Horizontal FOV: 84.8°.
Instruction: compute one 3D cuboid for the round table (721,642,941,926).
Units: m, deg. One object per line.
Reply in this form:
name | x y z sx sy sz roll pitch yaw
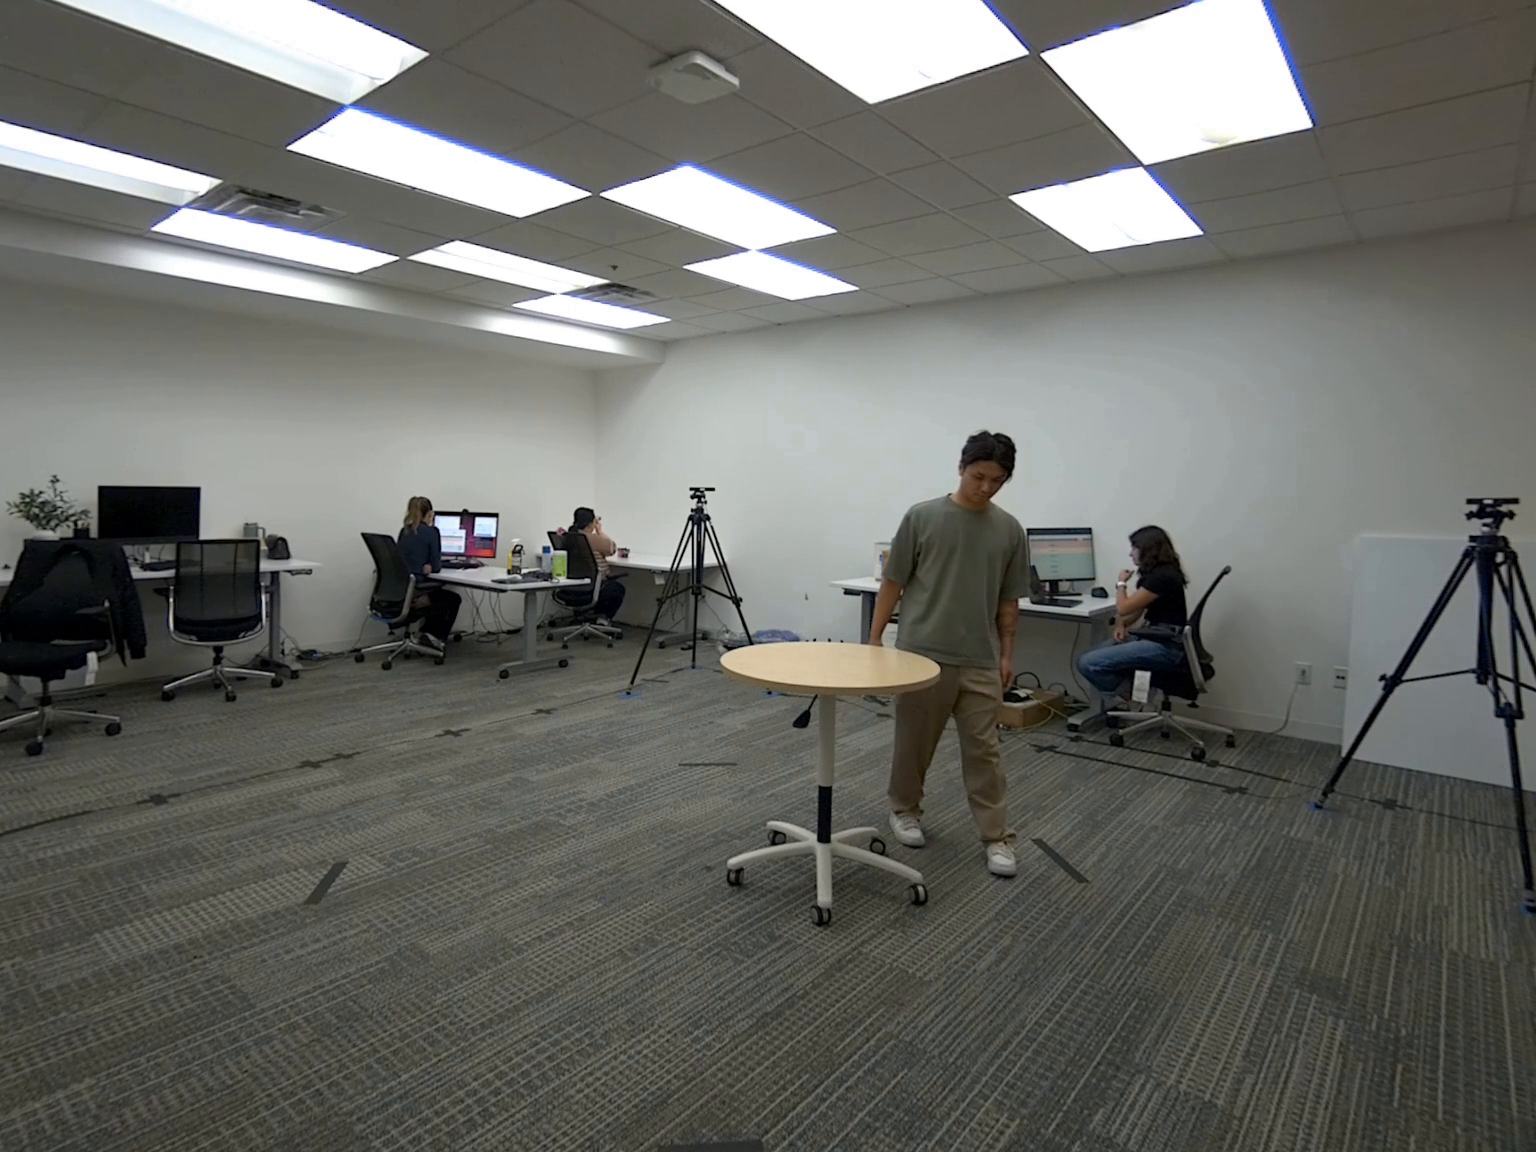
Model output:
round table | 0.189 0.690 3.011 0.784 0.784 0.789 1 4 -2
